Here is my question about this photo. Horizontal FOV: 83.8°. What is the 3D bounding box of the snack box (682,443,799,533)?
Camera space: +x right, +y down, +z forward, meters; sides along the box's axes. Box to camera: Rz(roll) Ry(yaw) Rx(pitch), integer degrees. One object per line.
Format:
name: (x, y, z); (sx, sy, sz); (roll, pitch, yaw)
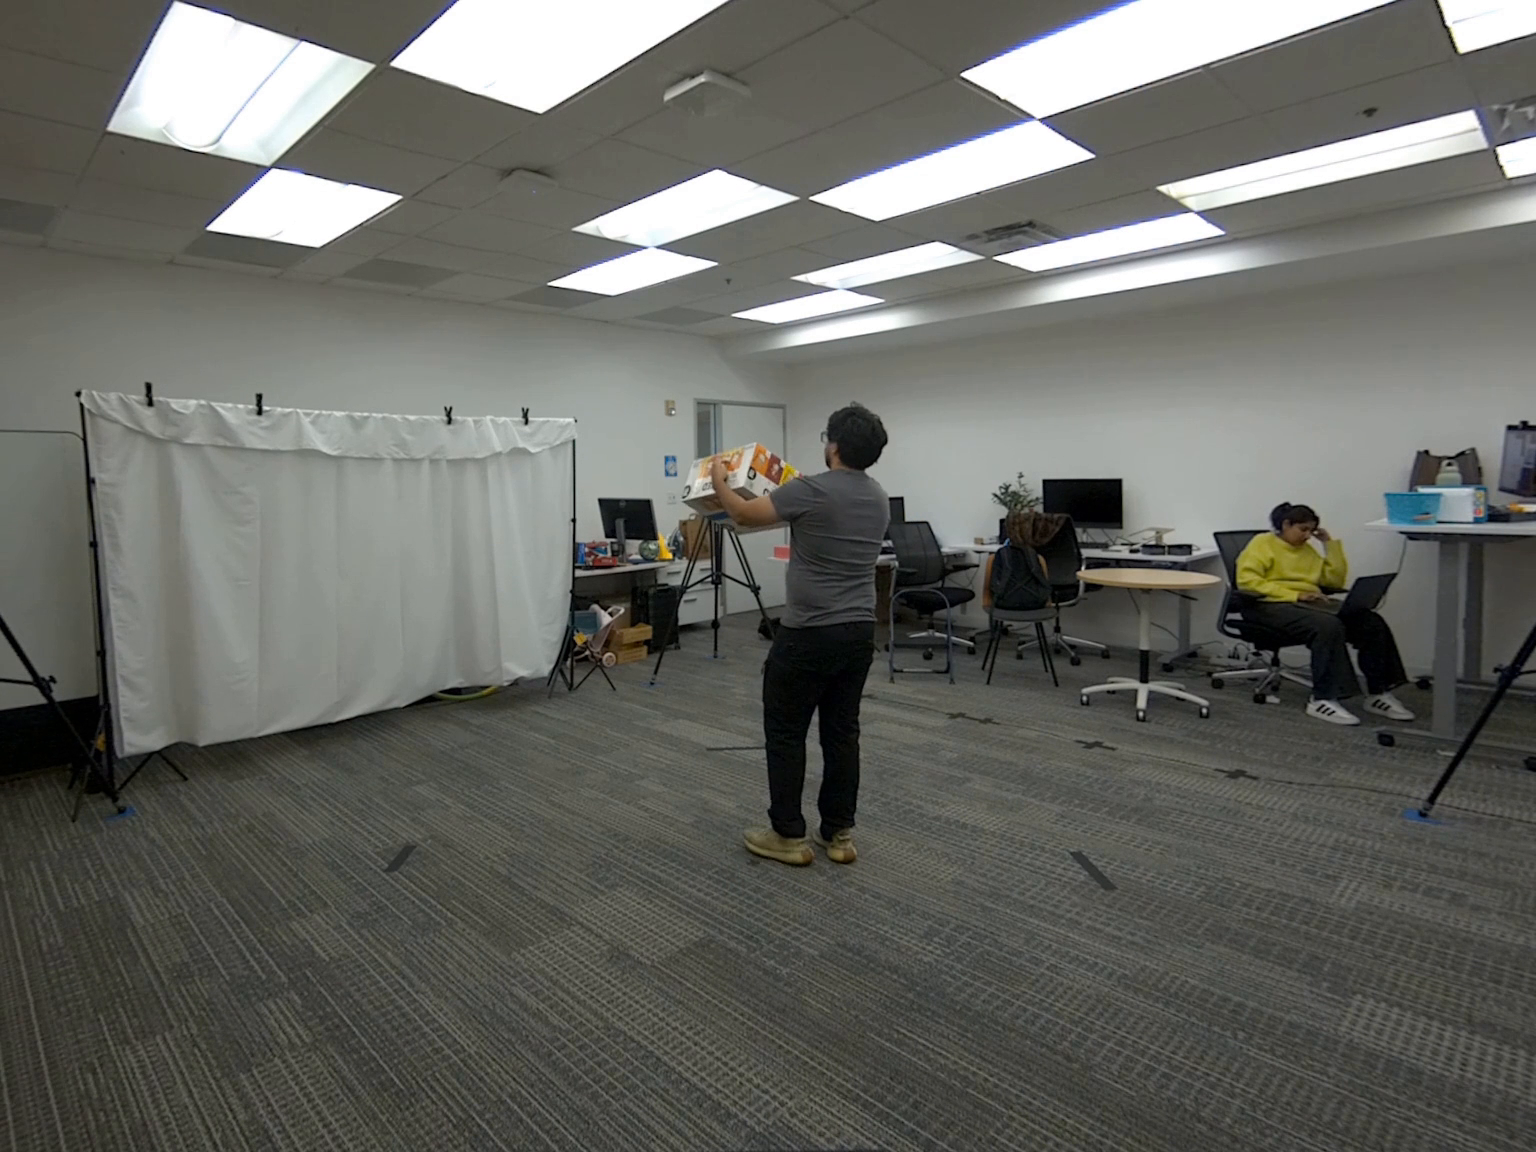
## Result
snack box: (-0.089, -0.355, 3.576); (0.328, 0.208, 0.415); (30, -24, -35)
